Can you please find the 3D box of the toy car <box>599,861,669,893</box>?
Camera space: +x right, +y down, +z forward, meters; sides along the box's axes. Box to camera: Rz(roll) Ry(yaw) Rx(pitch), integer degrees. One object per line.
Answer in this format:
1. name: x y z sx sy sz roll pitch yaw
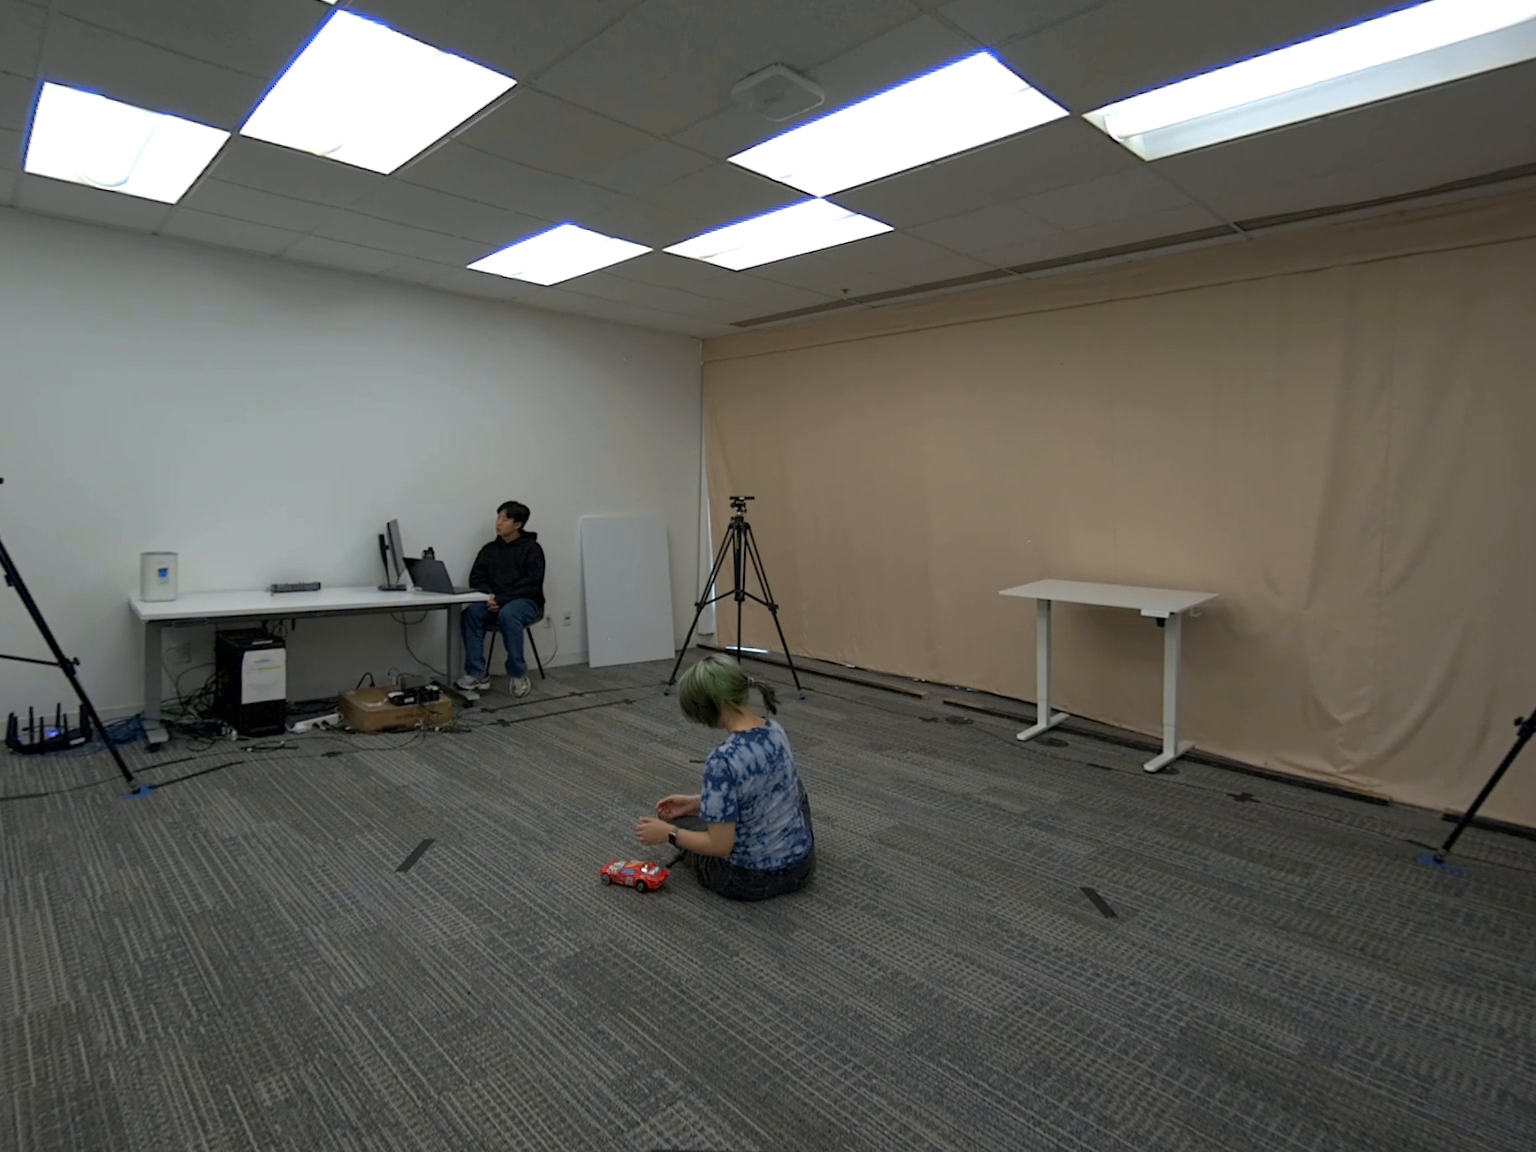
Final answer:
1. toy car: -0.477 1.066 3.009 0.258 0.083 0.128 -8 0 23
